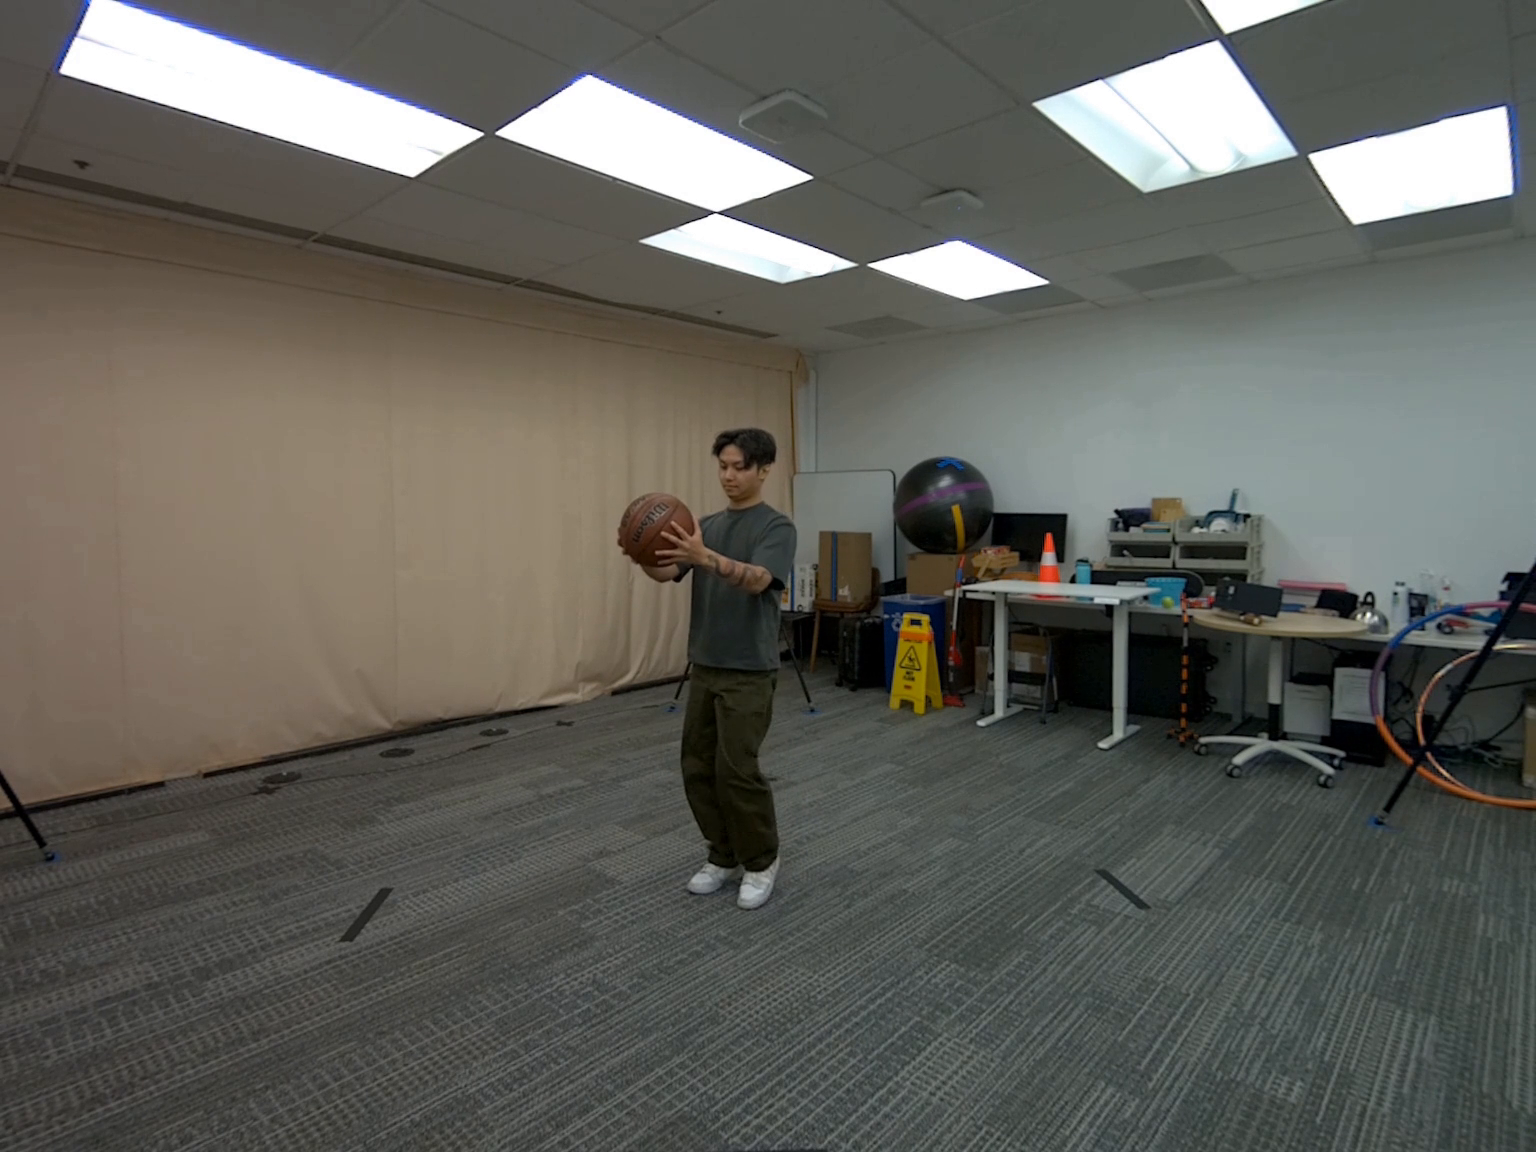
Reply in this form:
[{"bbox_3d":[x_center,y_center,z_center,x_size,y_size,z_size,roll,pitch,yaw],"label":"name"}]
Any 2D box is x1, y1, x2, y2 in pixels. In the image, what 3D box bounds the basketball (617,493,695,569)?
[{"bbox_3d":[-0.343,-0.137,2.677,0.236,0.235,0.237,0,4,-2],"label":"basketball"}]
